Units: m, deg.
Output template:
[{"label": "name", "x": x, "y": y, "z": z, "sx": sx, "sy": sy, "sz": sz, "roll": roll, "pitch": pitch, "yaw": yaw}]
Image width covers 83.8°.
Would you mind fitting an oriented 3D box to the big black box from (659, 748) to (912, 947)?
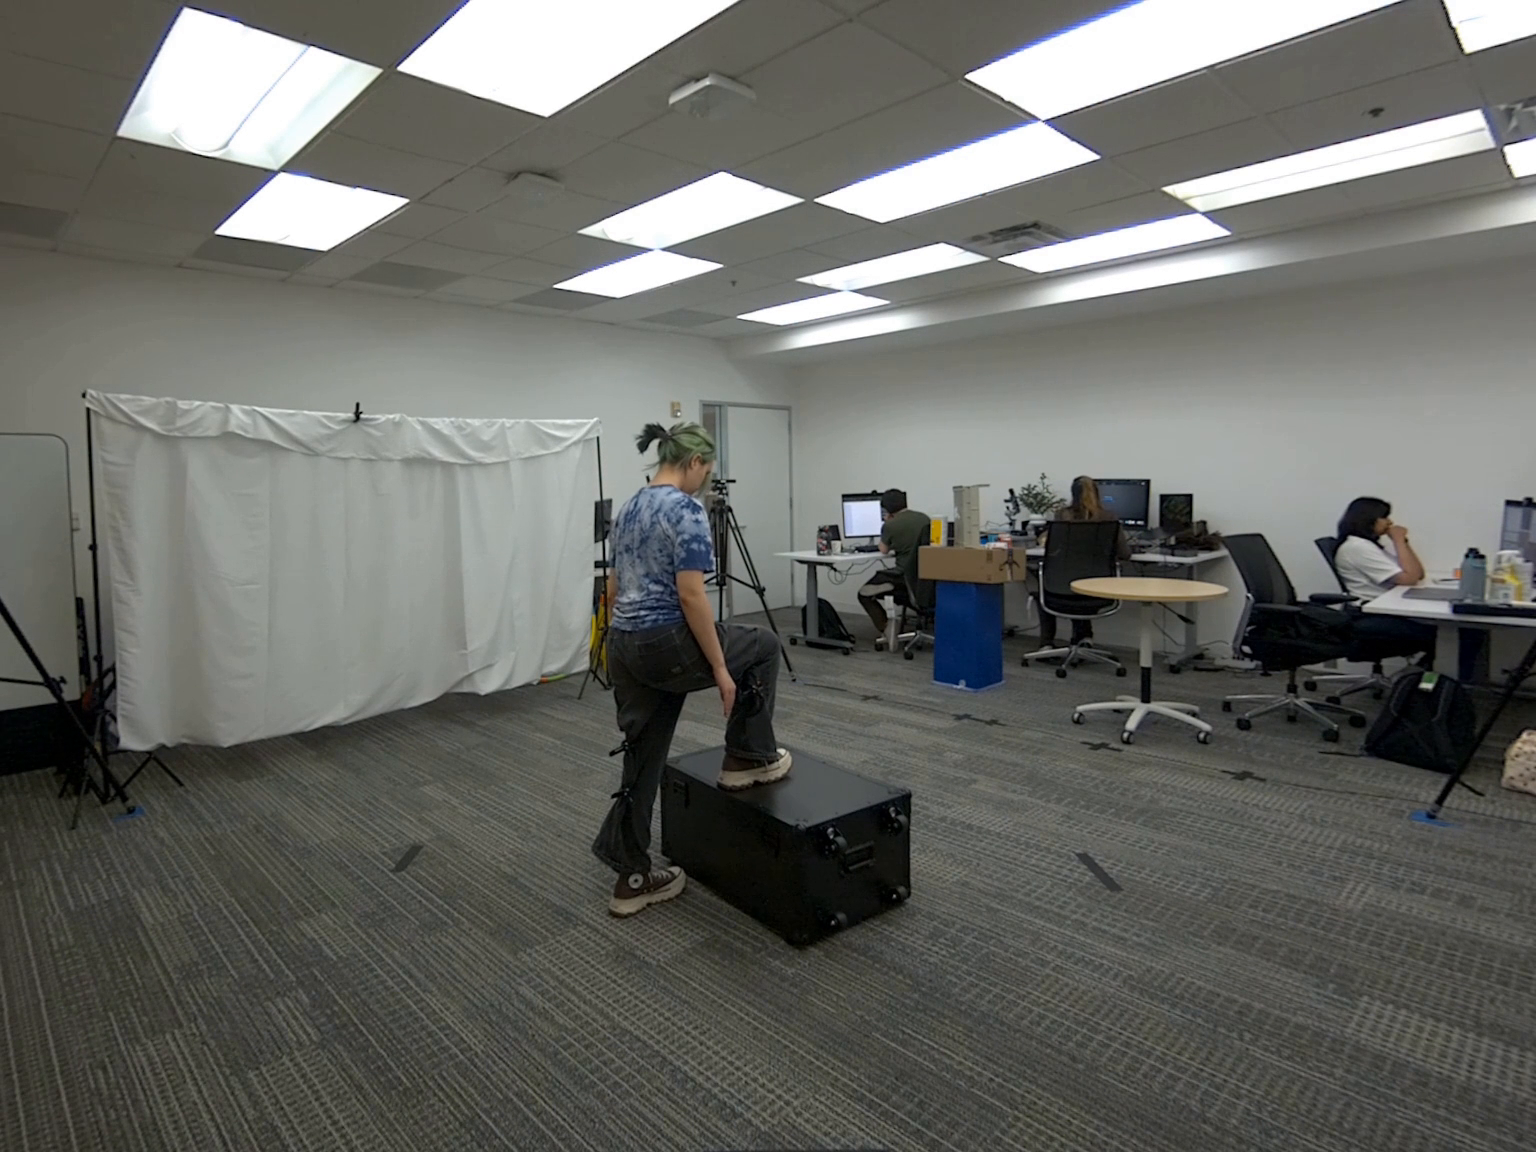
[{"label": "big black box", "x": 0.054, "y": 0.875, "z": 2.930, "sx": 0.508, "sy": 0.395, "sz": 0.887, "roll": -5, "pitch": 7, "yaw": -37}]
